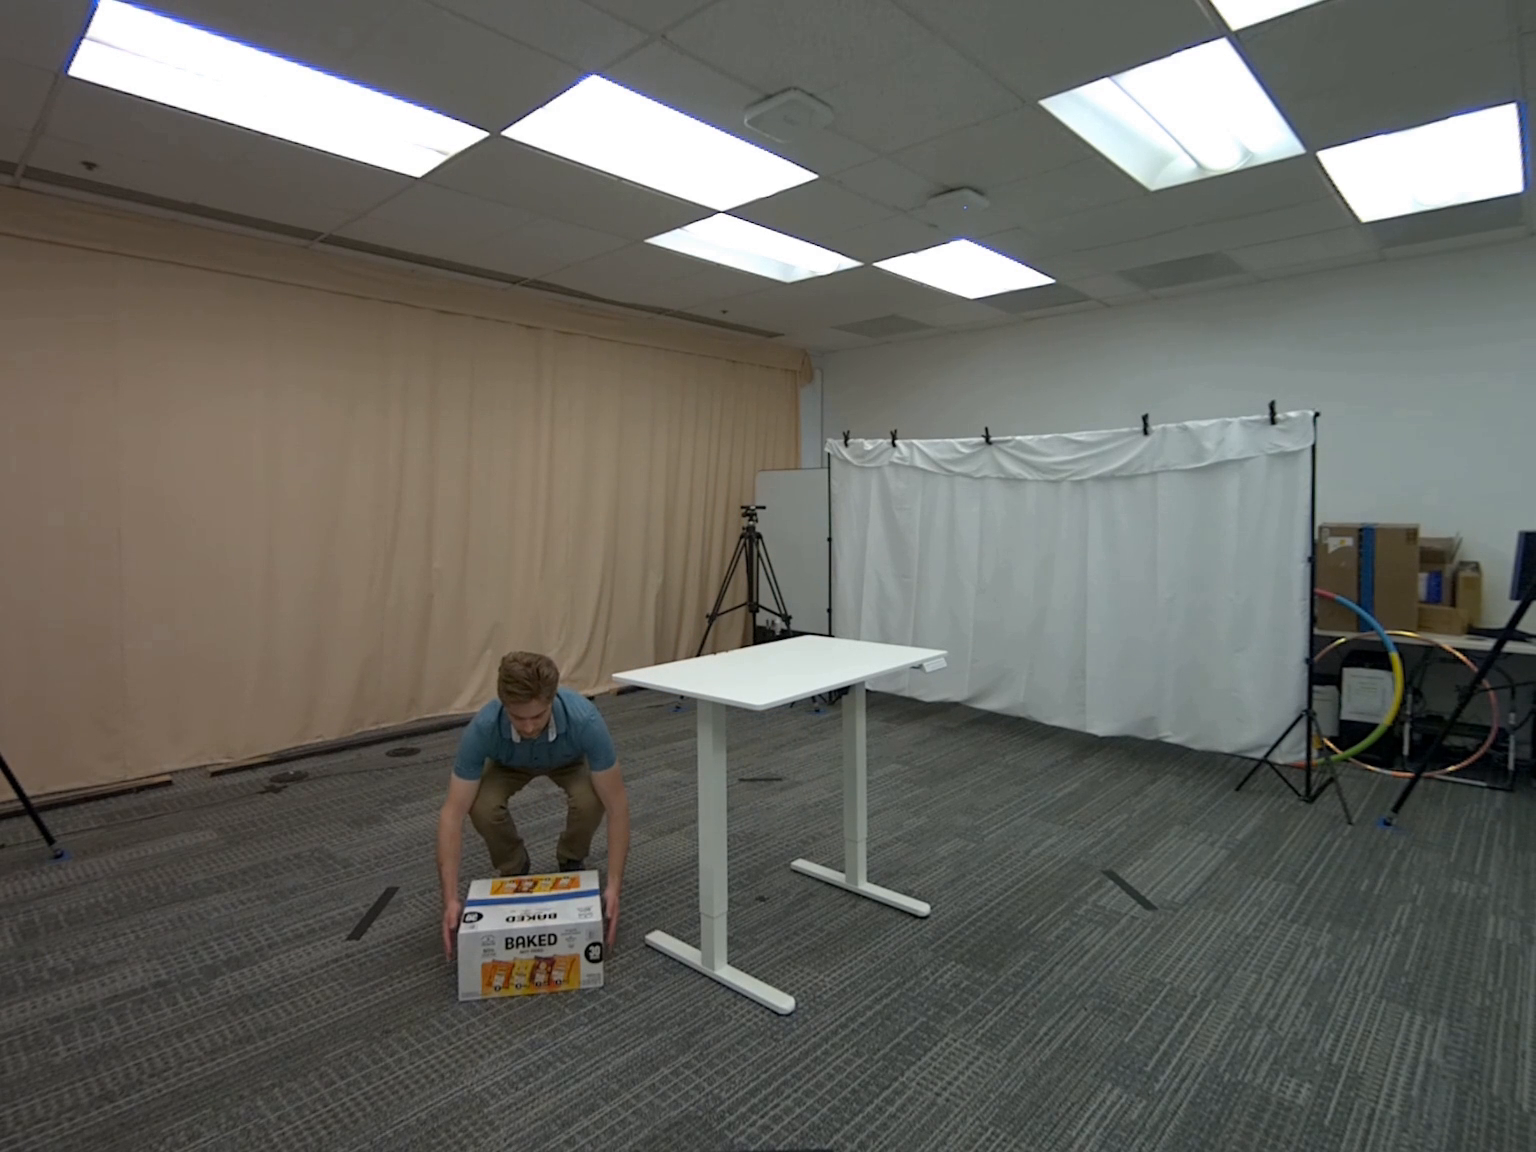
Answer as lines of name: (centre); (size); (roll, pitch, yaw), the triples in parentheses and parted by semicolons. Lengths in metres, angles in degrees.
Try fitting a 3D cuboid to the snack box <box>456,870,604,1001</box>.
snack box: (-0.713, 1.086, 2.560); (0.400, 0.205, 0.345); (-1, 5, -12)
